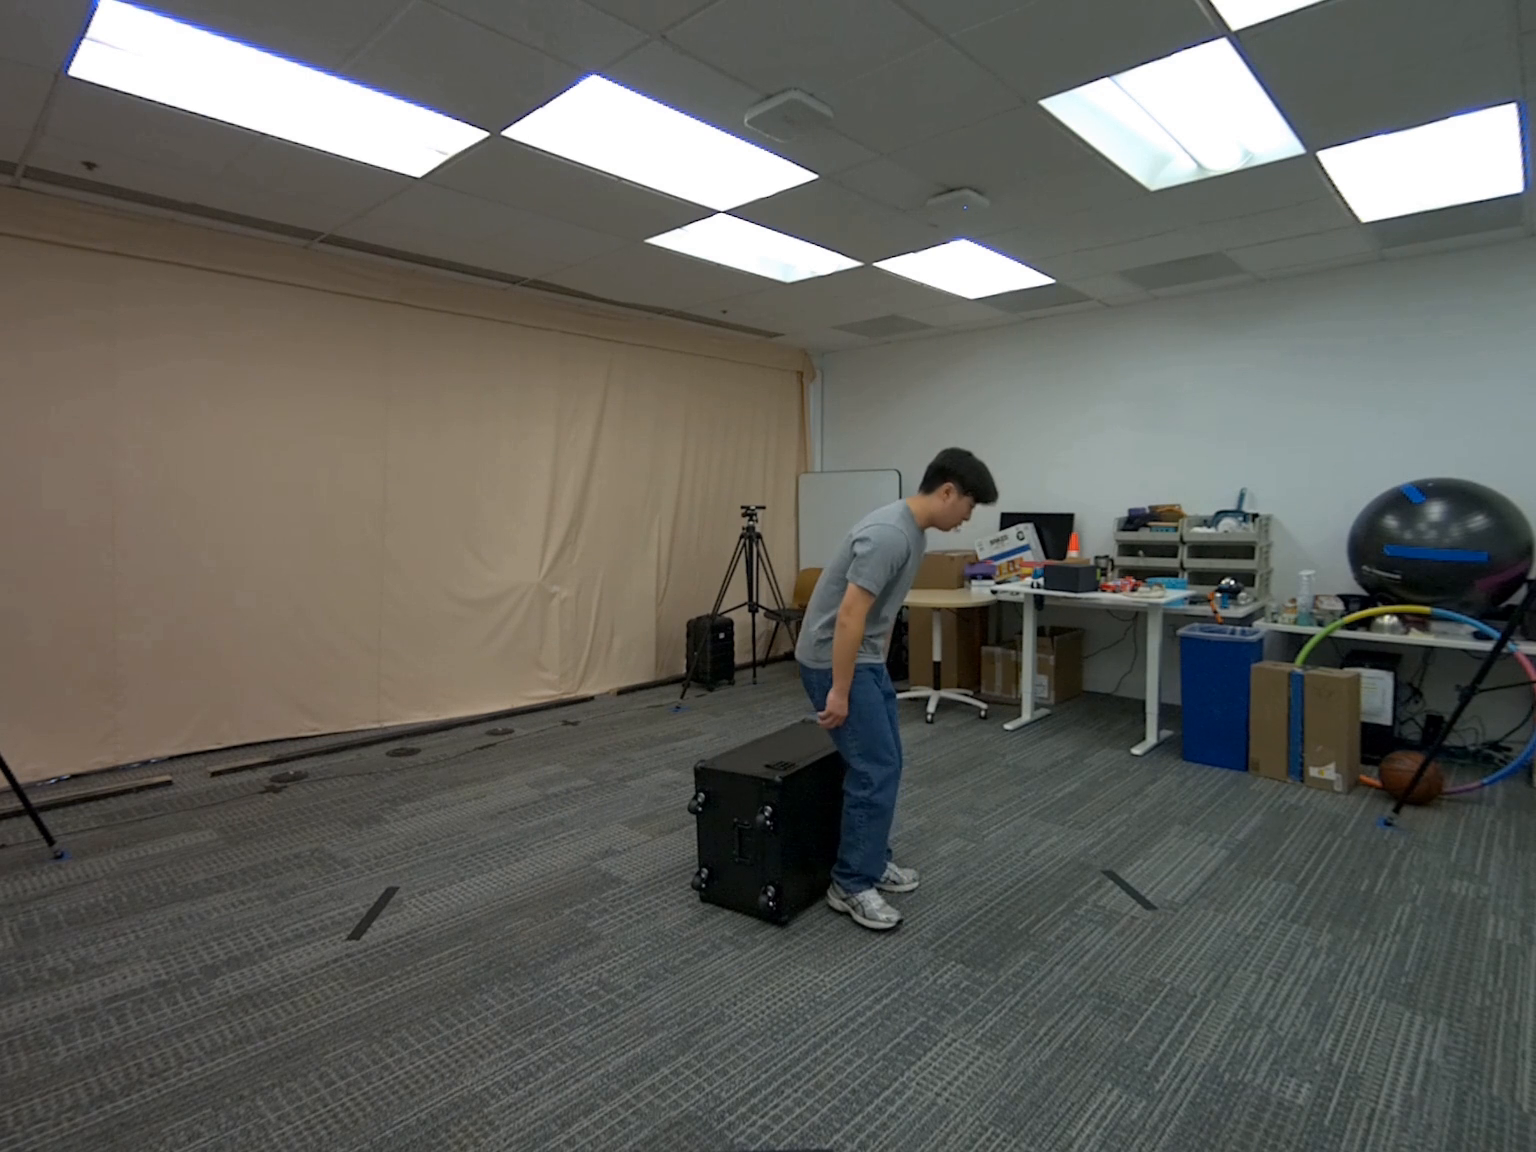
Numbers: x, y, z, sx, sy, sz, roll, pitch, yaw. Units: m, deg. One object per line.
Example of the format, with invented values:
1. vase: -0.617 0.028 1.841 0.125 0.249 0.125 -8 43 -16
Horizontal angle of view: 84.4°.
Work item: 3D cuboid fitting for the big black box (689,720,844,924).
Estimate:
1. big black box: 0.081 0.870 3.151 0.408 0.520 0.837 -1 3 33
